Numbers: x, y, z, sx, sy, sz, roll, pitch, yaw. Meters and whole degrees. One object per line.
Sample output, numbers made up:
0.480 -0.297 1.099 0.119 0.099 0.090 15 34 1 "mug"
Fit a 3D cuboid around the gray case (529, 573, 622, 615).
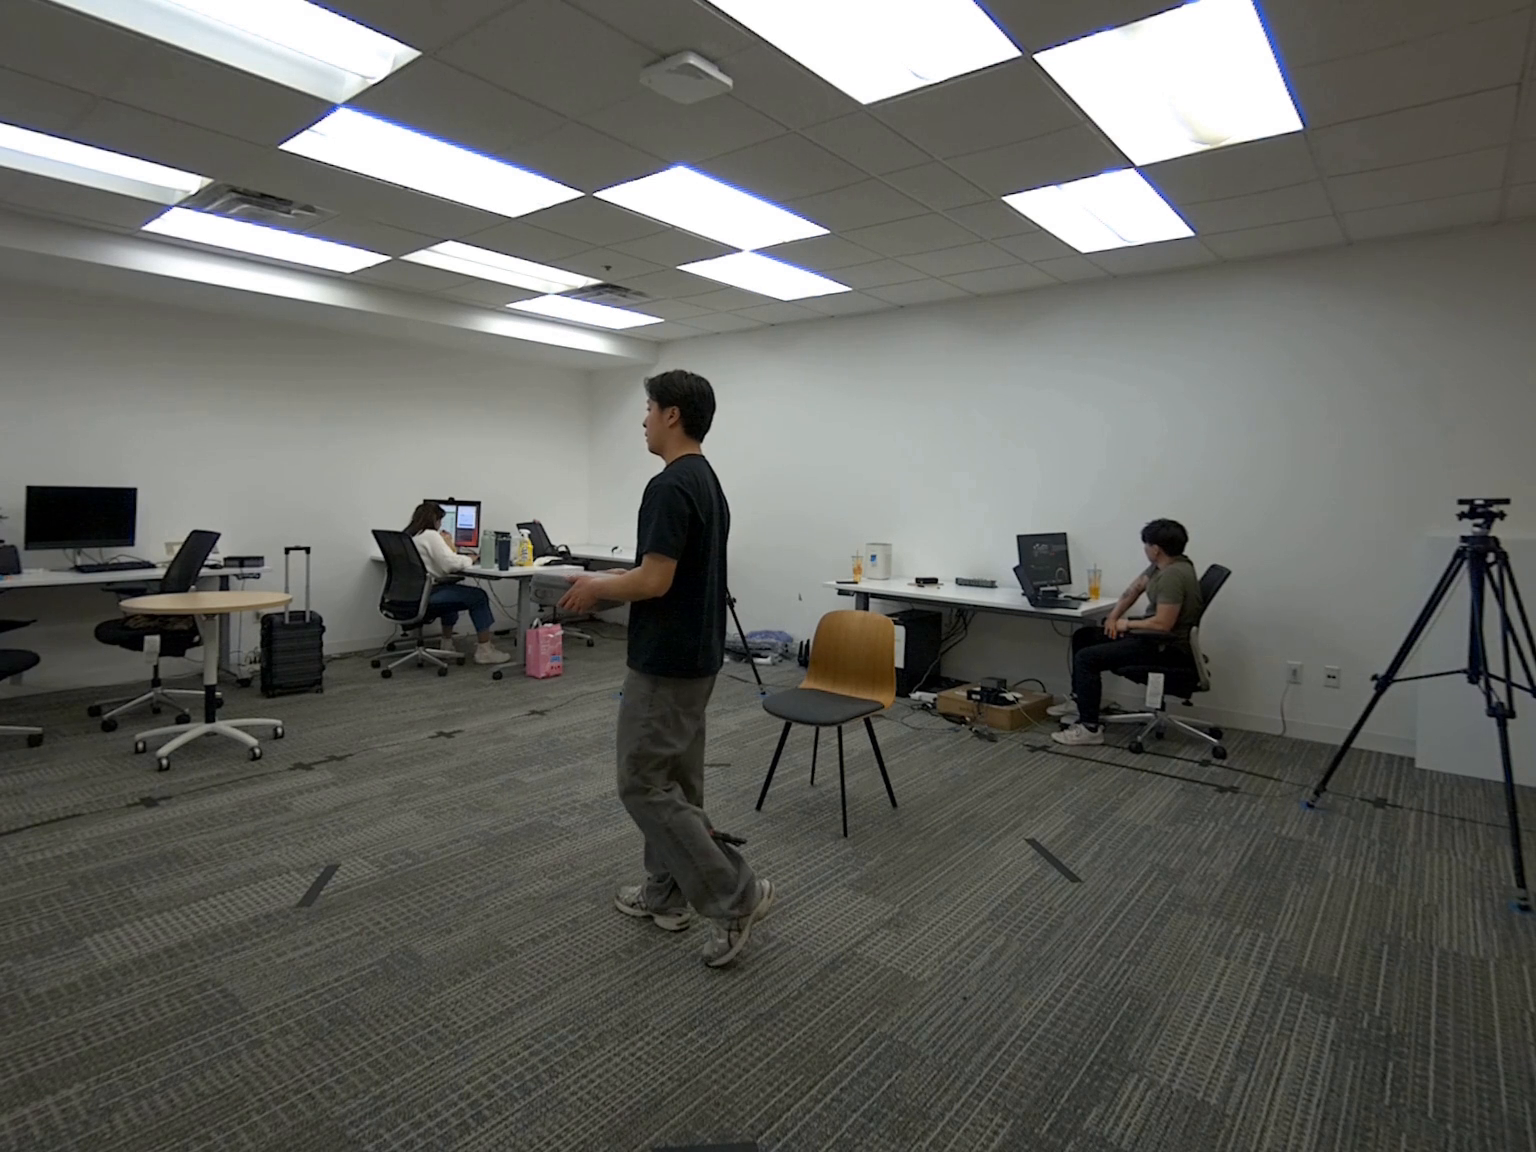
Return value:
-0.617 0.044 2.750 0.287 0.103 0.264 4 4 -1 "gray case"
